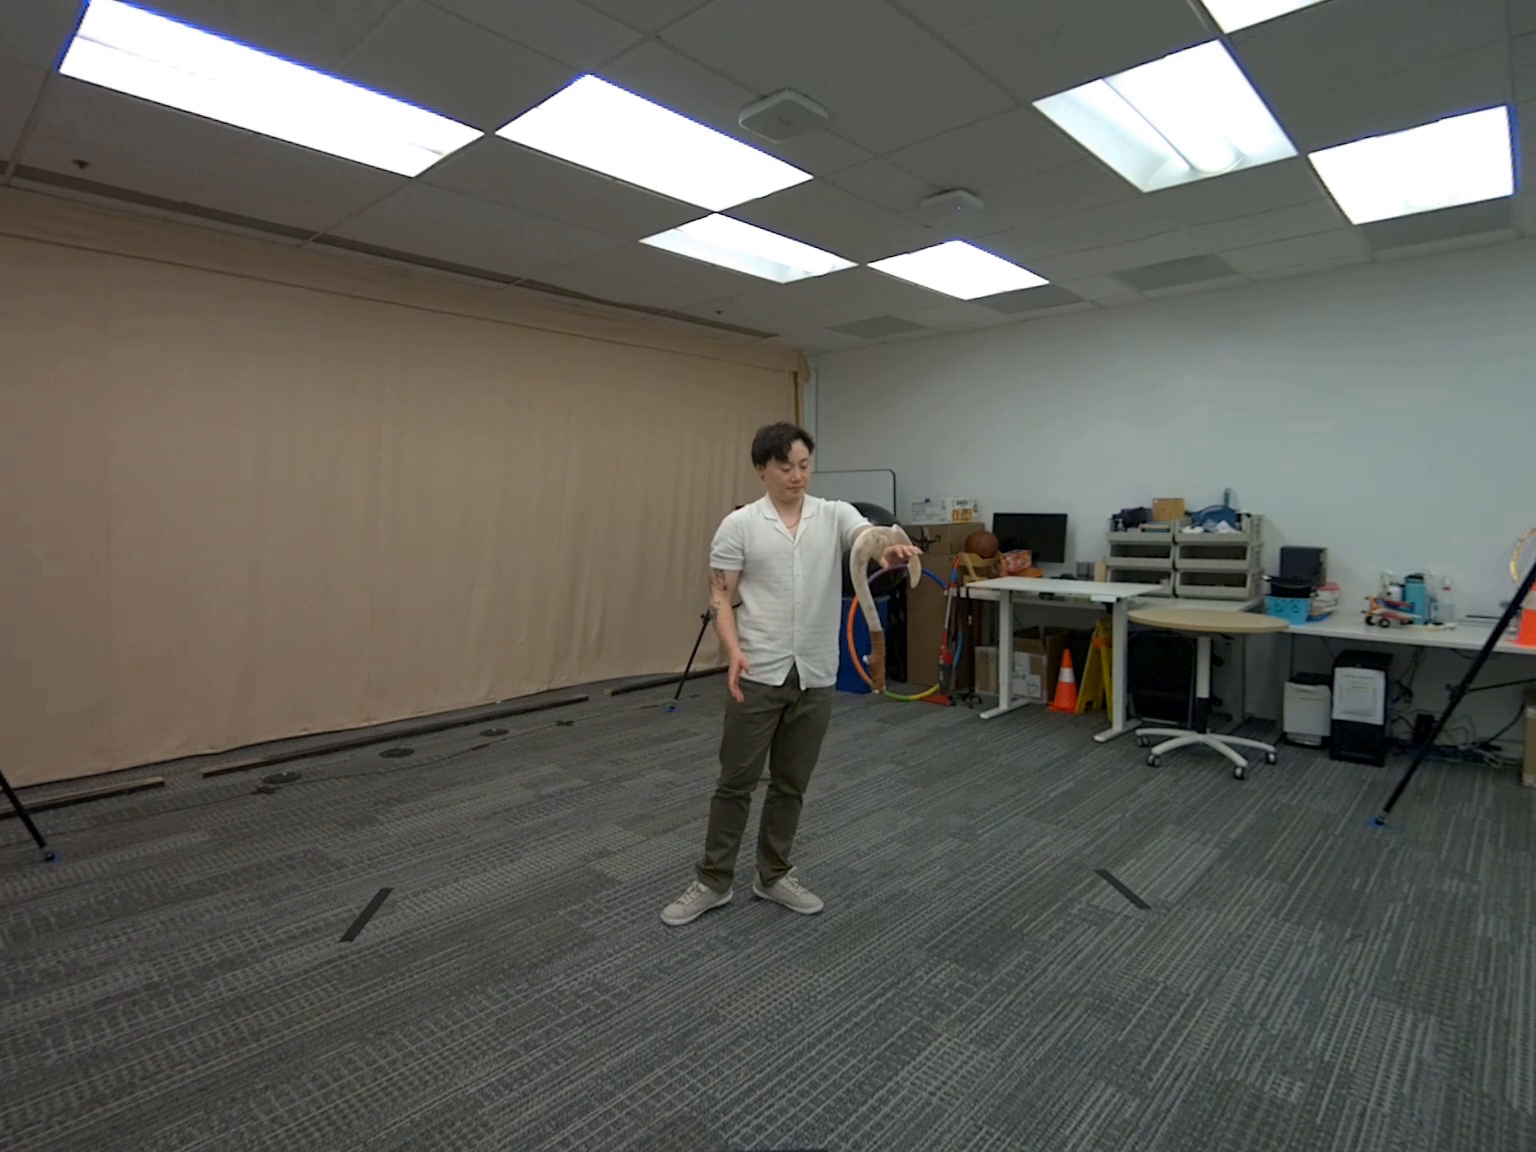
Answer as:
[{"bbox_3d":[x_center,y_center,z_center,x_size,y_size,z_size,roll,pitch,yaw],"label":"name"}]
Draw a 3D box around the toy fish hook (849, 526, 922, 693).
[{"bbox_3d":[0.375,0.103,2.541,0.222,0.504,0.049,-8,6,-9],"label":"toy fish hook"}]
